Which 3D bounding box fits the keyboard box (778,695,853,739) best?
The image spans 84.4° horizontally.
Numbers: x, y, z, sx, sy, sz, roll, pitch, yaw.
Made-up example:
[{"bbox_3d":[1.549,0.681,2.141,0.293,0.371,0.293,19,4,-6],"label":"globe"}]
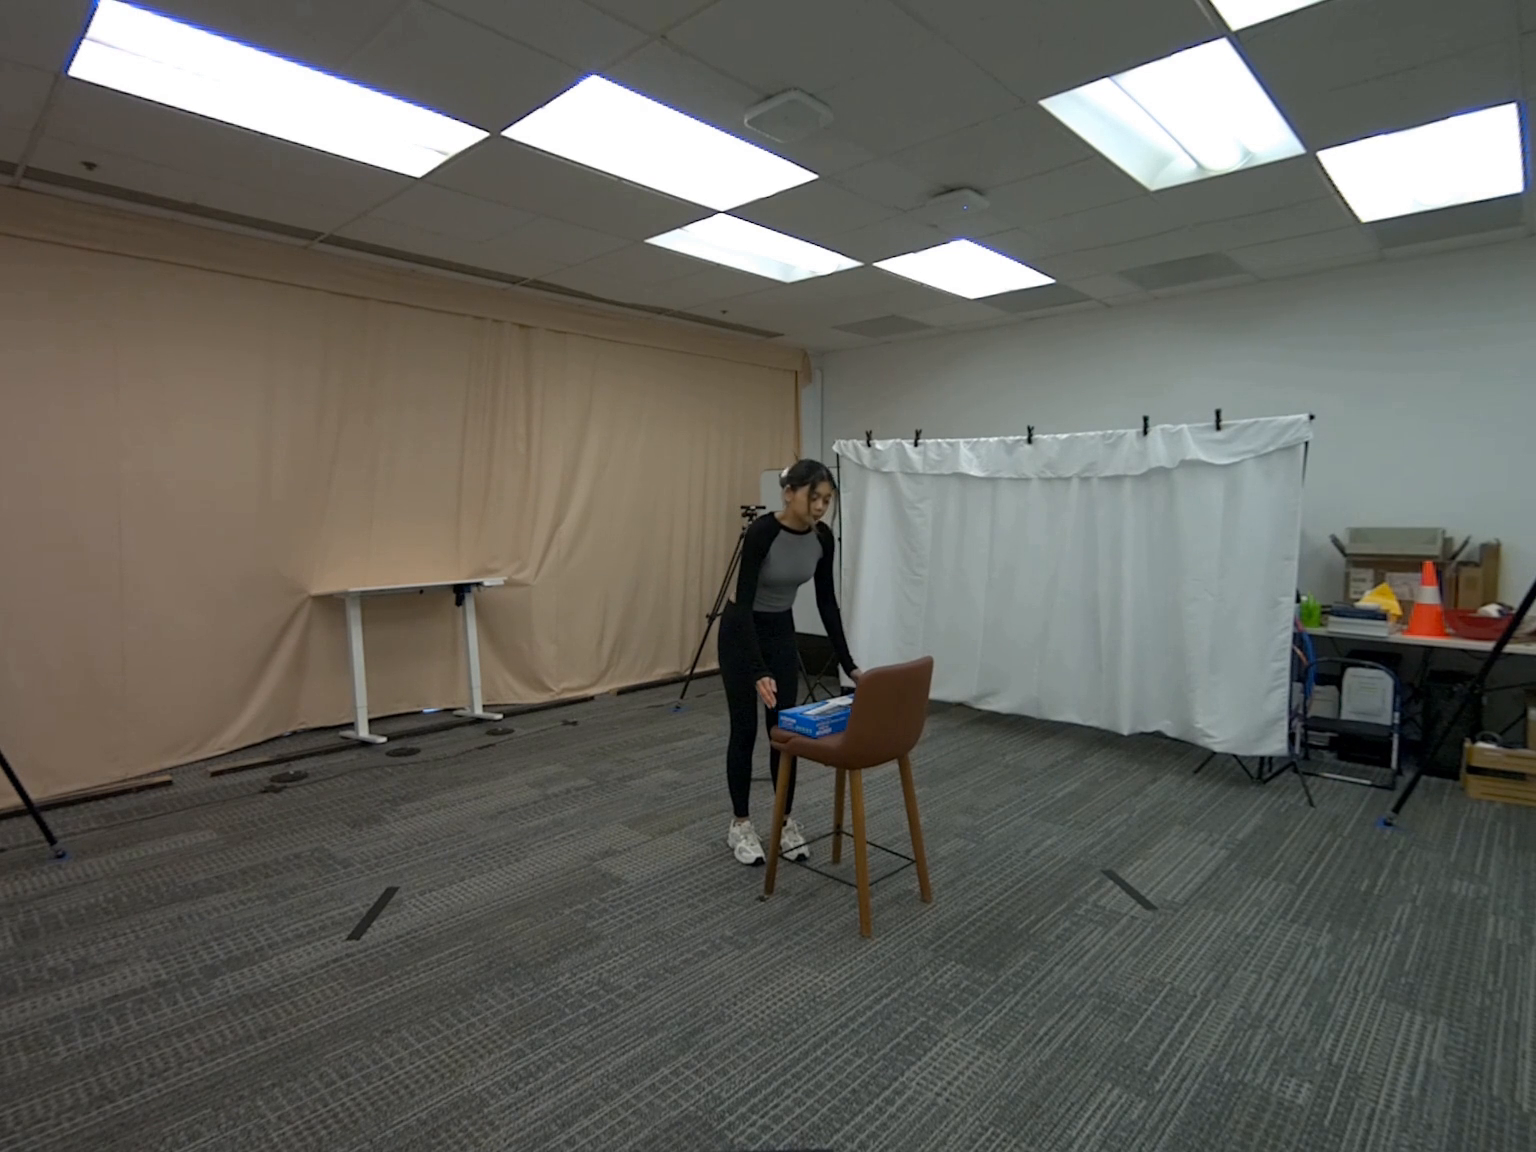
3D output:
[{"bbox_3d":[0.250,0.493,3.029,0.423,0.059,0.182,-4,6,-42],"label":"keyboard box"}]
